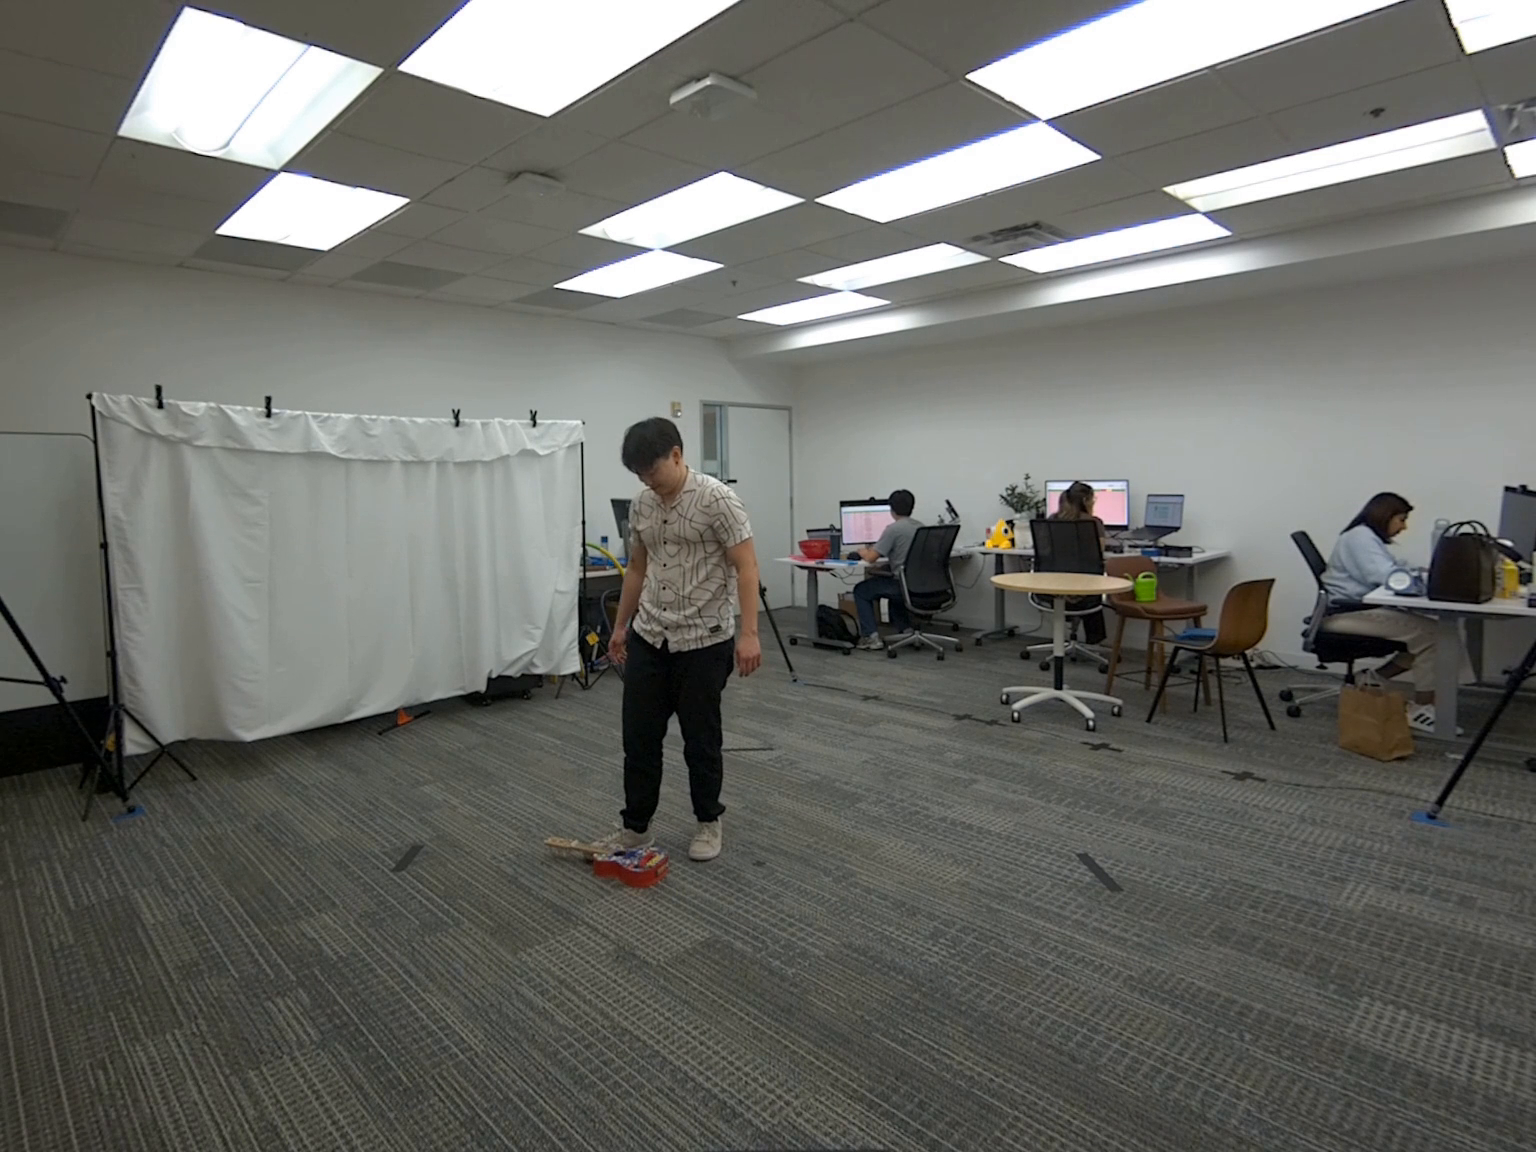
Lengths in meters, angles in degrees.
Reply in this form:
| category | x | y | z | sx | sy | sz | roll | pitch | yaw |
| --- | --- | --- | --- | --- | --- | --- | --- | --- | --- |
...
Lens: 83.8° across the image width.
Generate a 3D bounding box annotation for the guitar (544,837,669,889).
| category | x | y | z | sx | sy | sz | roll | pitch | yaw |
| --- | --- | --- | --- | --- | --- | --- | --- | --- | --- |
| guitar | -0.587 | 1.019 | 3.134 | 0.512 | 0.070 | 0.188 | 4 | 8 | 34 |
